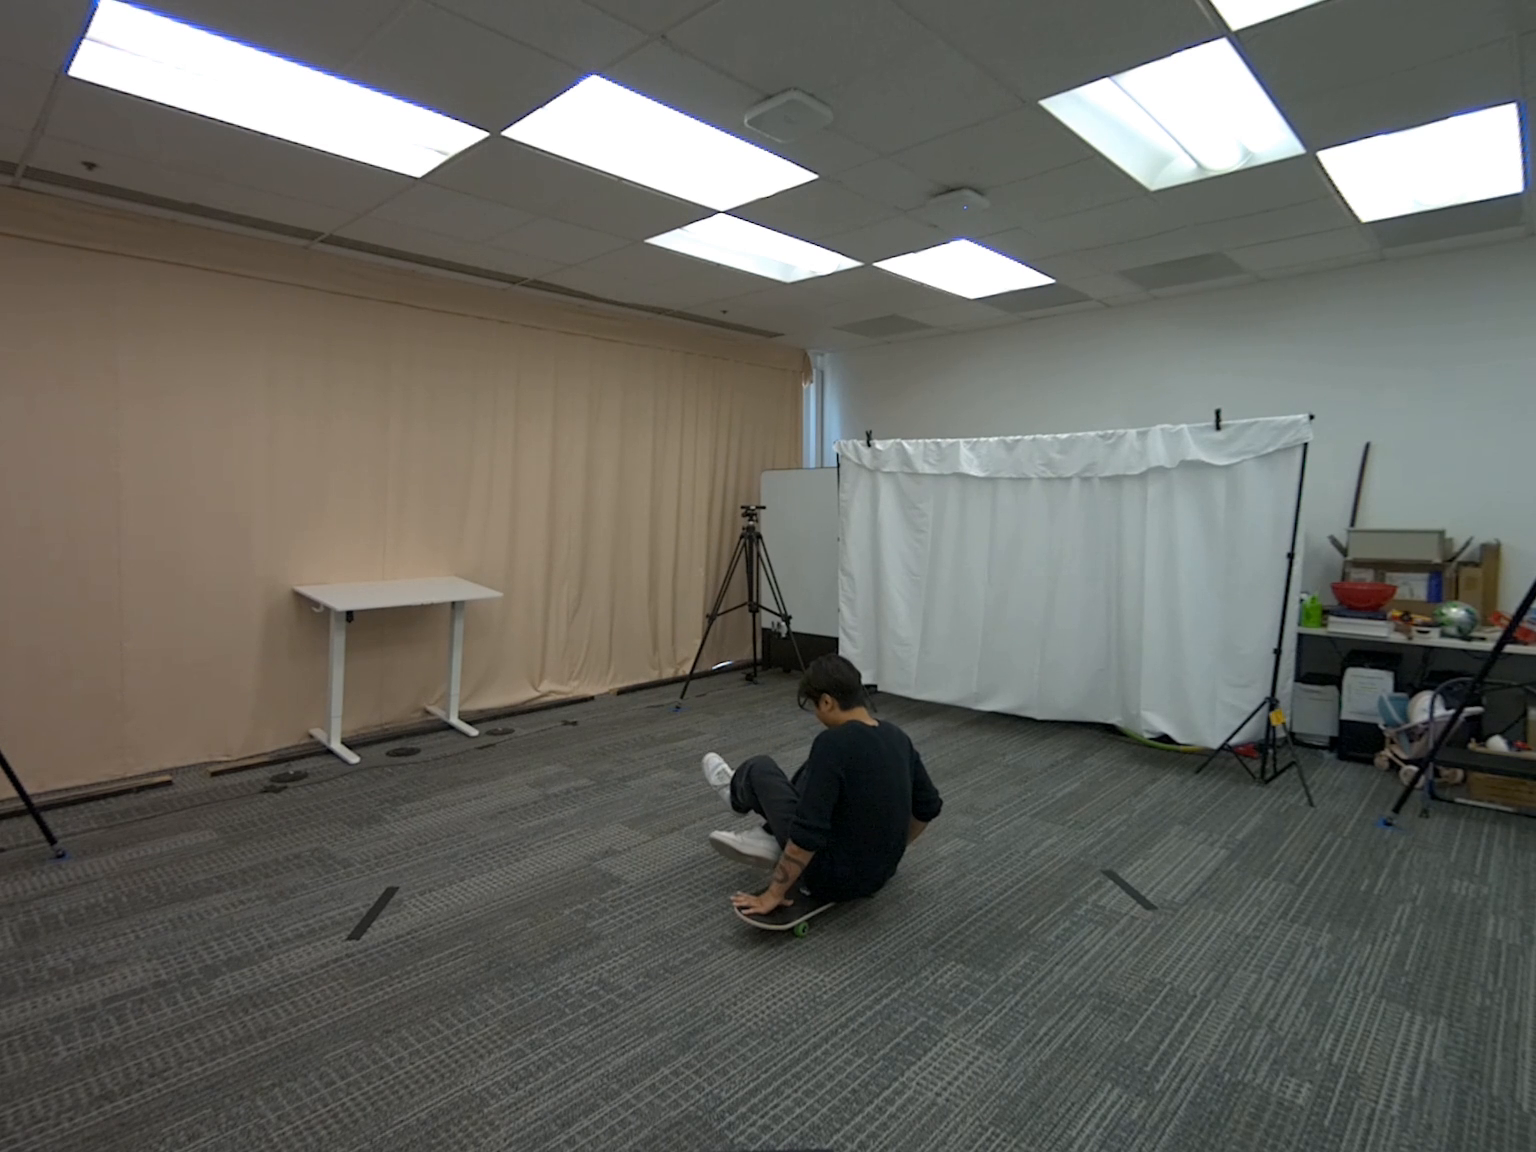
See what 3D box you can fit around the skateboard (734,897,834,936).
[{"bbox_3d":[0.183,1.104,2.907,0.761,0.110,0.200,-3,10,-42],"label":"skateboard"}]
